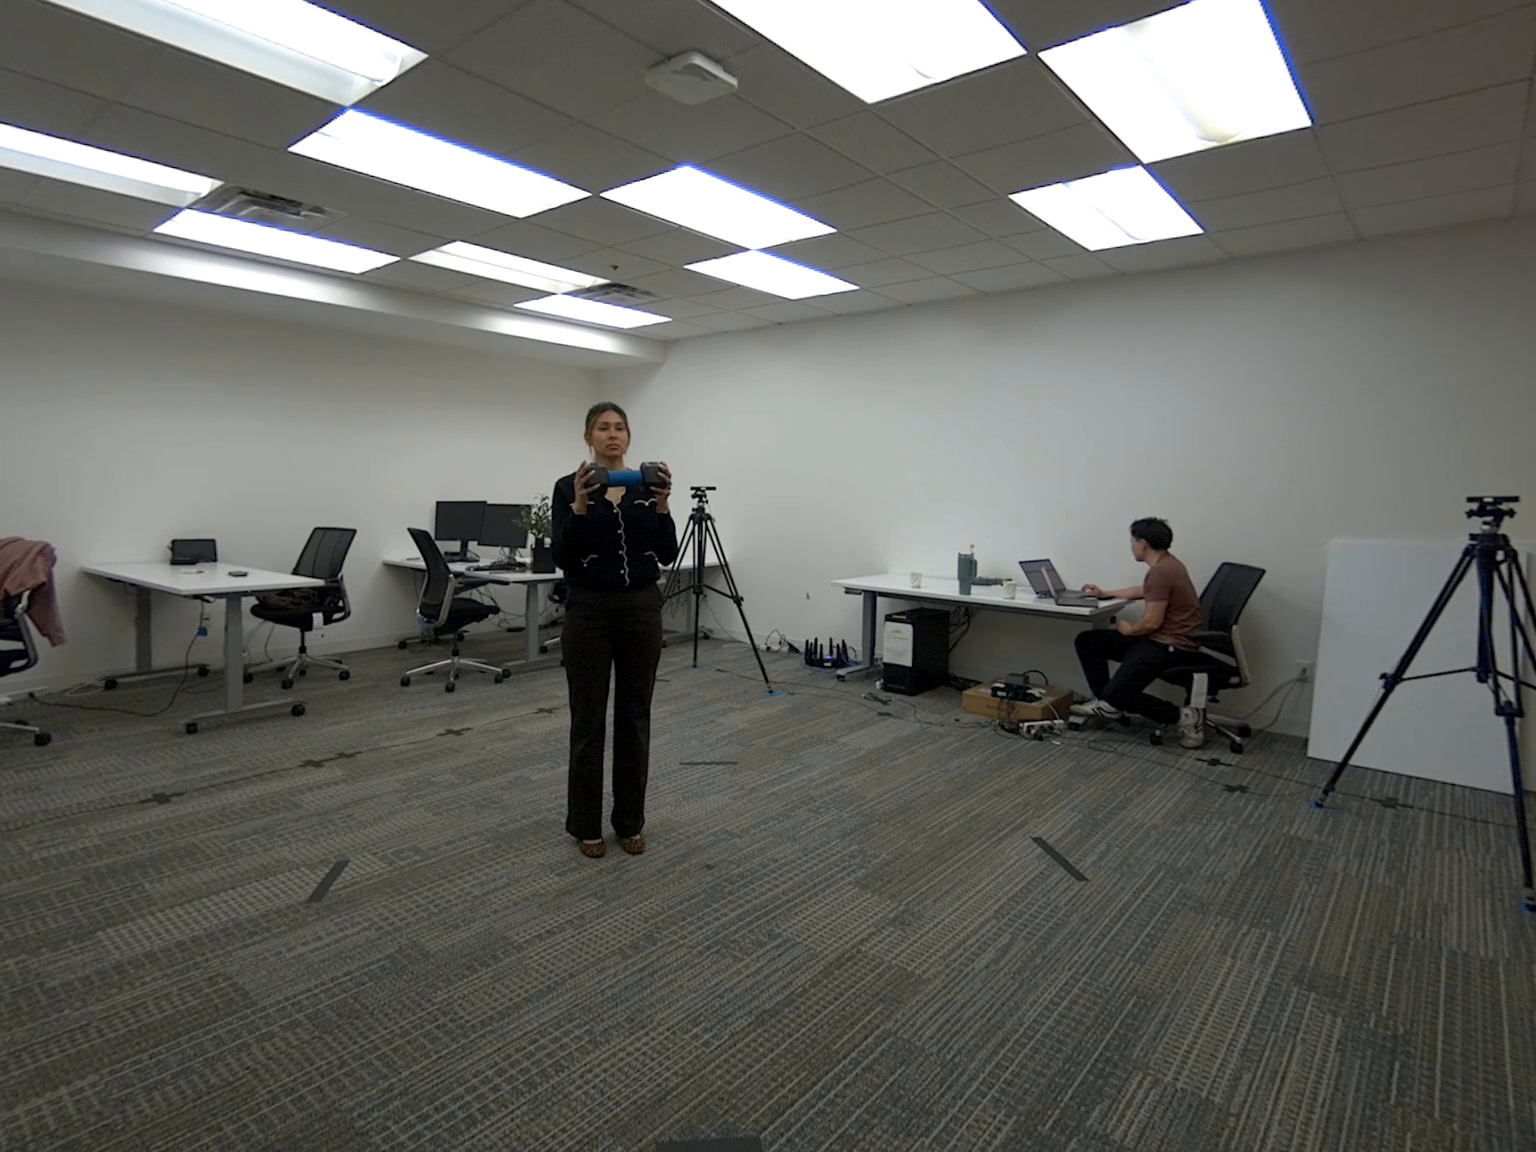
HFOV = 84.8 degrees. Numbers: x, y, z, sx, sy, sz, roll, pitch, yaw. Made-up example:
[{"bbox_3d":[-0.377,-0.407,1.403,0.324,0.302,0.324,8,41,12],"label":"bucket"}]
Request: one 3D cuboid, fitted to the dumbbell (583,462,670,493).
[{"bbox_3d":[-0.525,-0.349,3.066,0.288,0.112,0.121,-1,-29,-17],"label":"dumbbell"}]
